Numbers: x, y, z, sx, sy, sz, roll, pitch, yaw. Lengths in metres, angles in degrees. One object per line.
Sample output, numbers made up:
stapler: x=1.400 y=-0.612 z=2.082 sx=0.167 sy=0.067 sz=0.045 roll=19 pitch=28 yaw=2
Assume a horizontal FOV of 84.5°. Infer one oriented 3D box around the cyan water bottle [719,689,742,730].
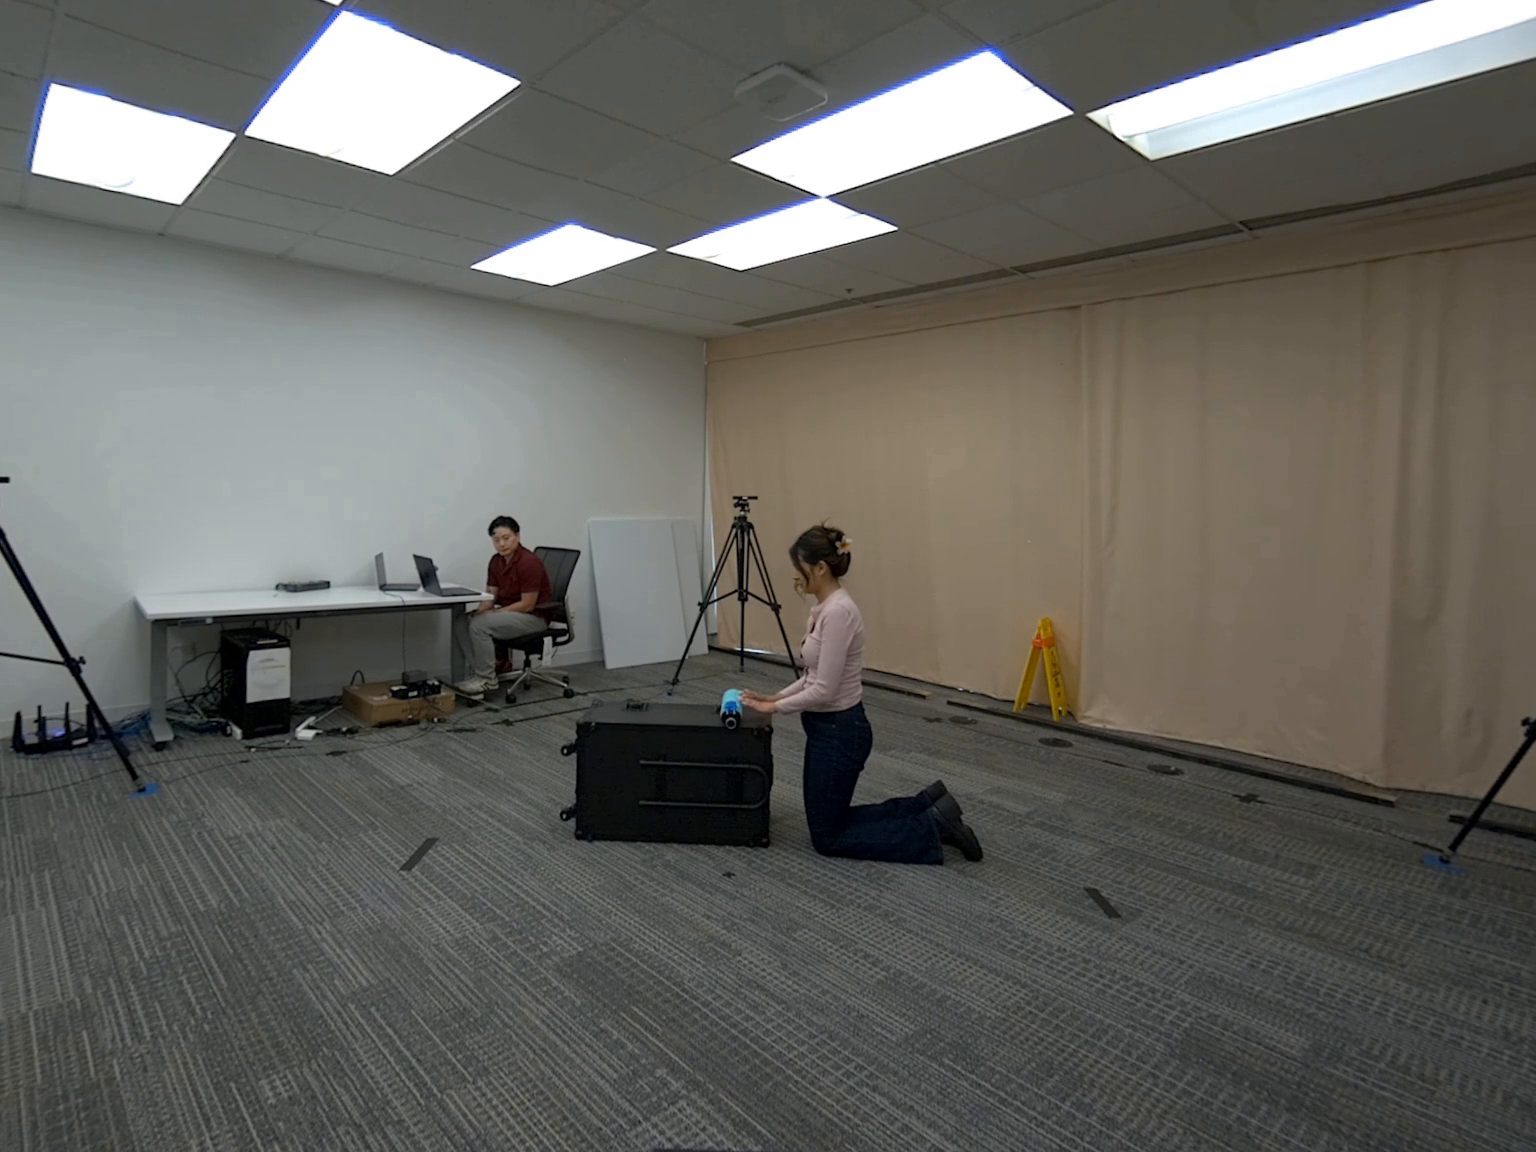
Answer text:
cyan water bottle: x=-0.157 y=0.535 z=3.430 sx=0.092 sy=0.092 sz=0.284 roll=1 pitch=8 yaw=2
